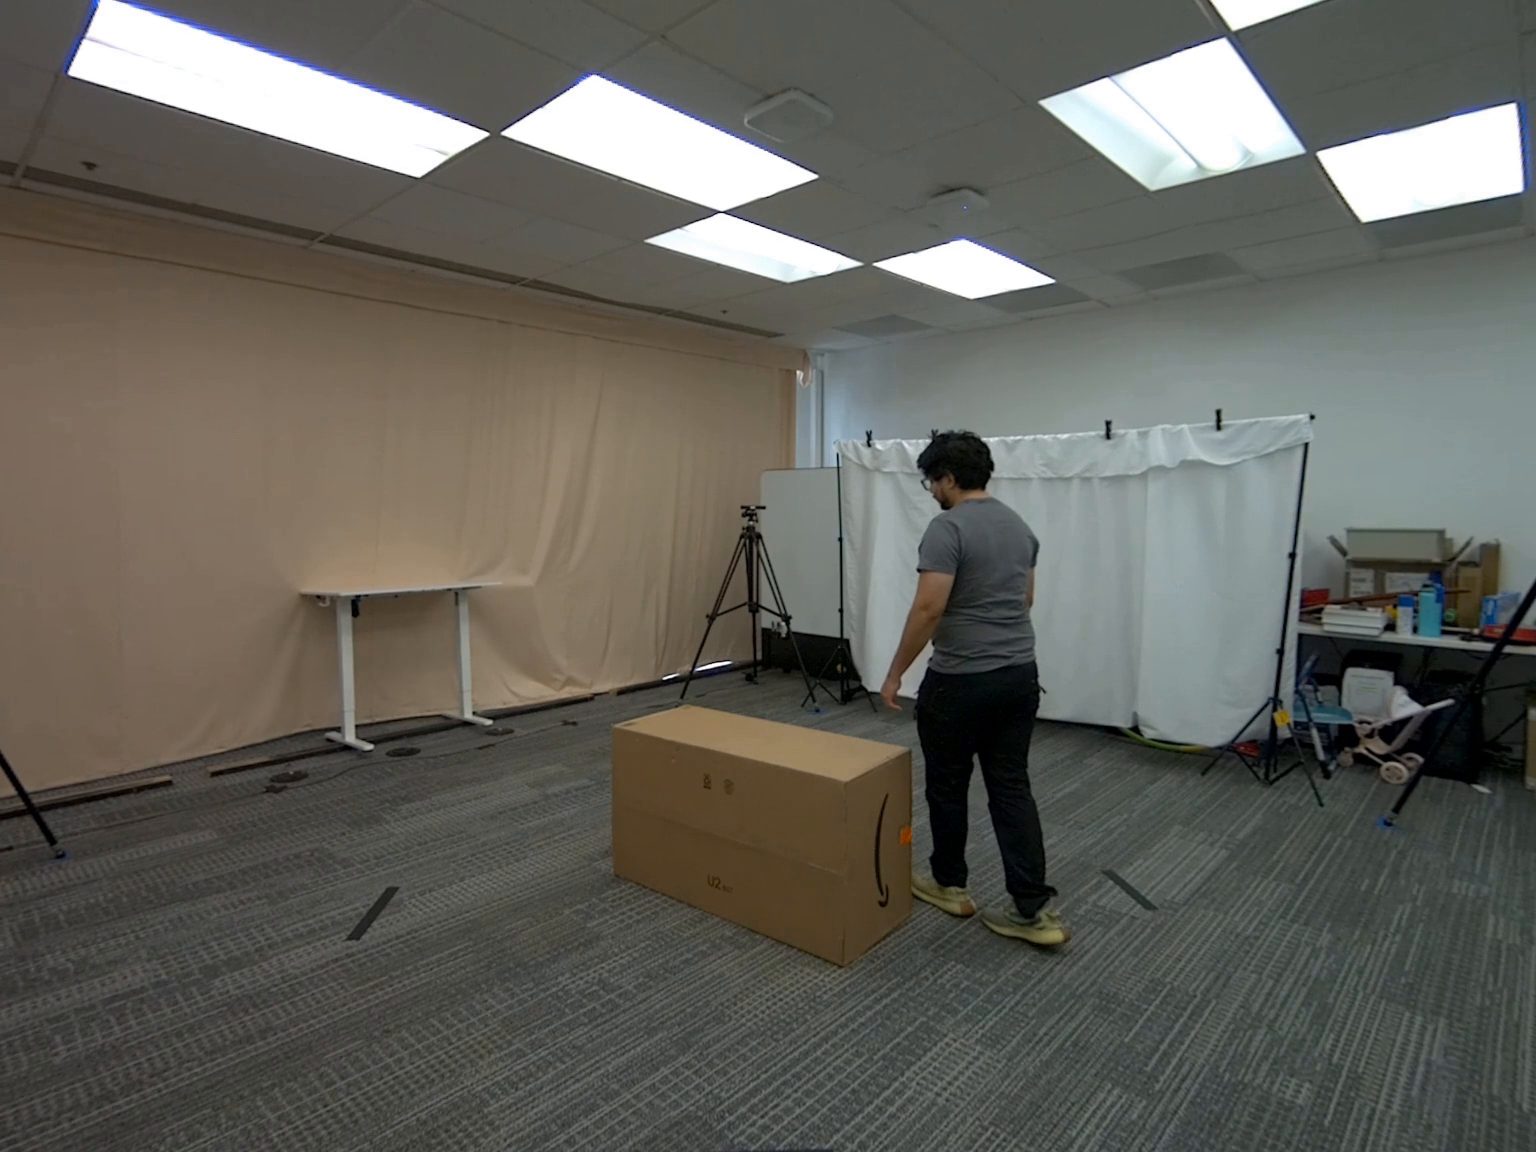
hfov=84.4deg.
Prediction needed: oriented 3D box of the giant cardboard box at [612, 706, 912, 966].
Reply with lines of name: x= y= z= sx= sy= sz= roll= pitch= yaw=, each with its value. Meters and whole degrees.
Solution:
giant cardboard box: x=-0.047 y=0.852 z=3.004 sx=1.059 sy=0.576 sz=0.413 roll=3 pitch=4 yaw=39
